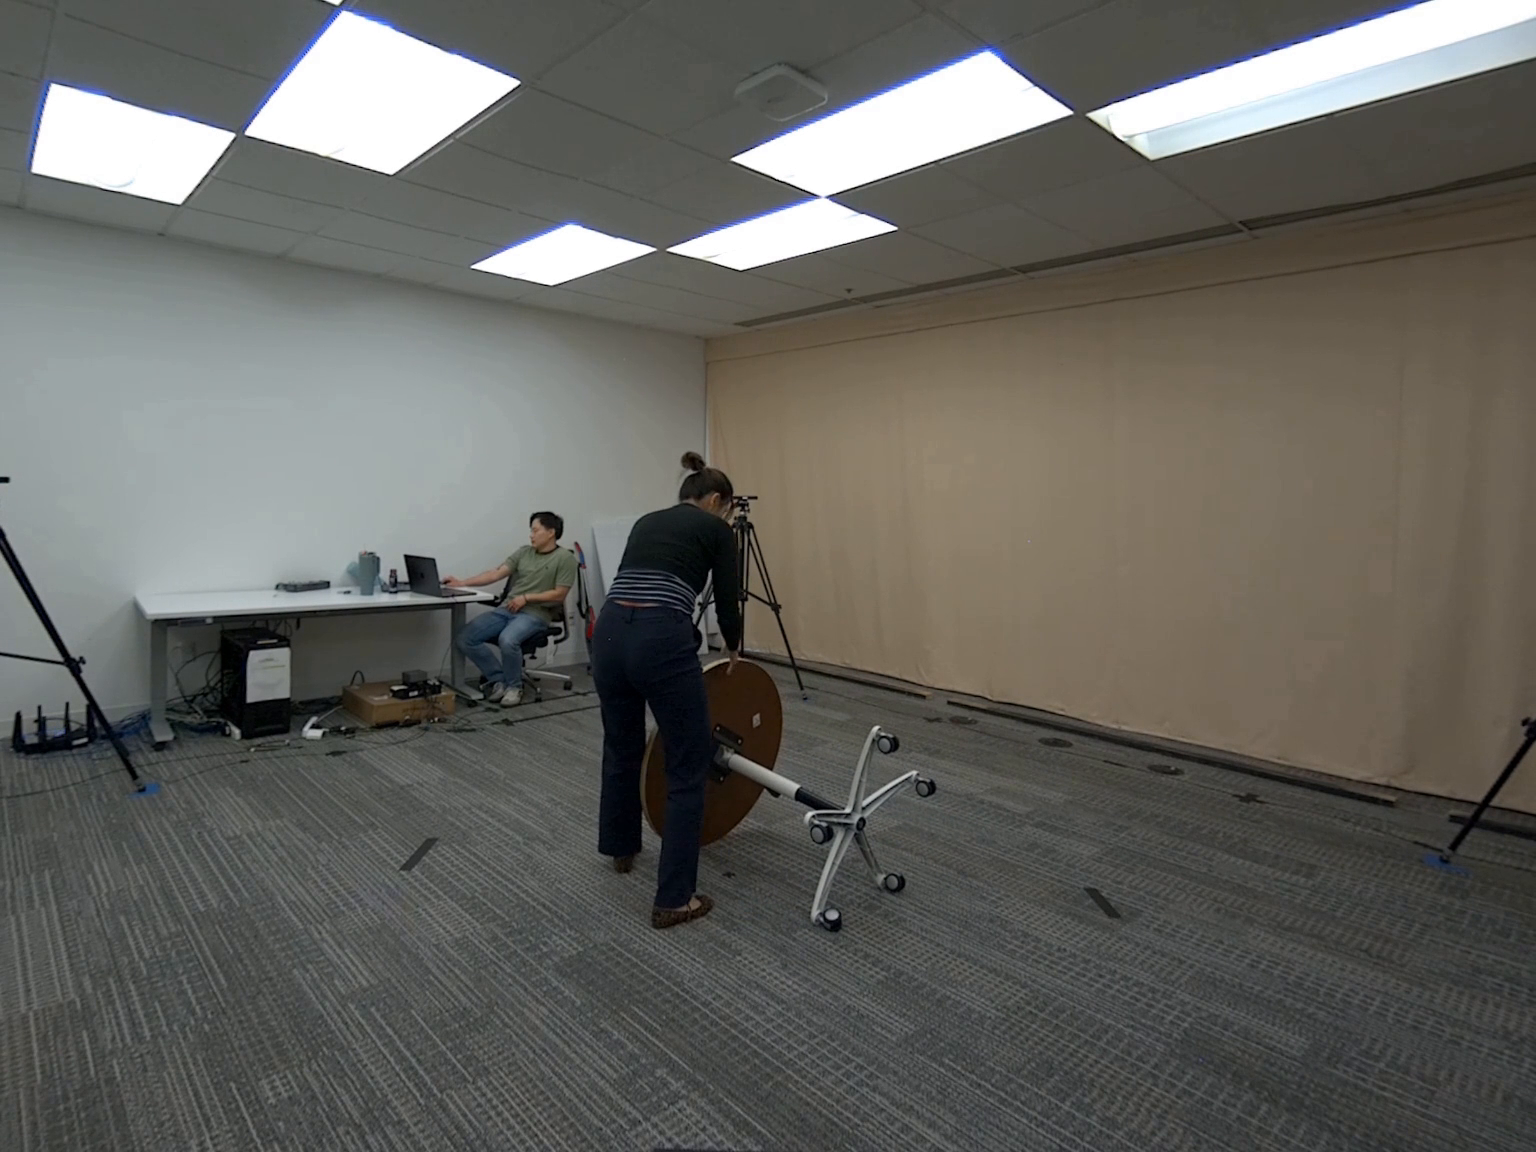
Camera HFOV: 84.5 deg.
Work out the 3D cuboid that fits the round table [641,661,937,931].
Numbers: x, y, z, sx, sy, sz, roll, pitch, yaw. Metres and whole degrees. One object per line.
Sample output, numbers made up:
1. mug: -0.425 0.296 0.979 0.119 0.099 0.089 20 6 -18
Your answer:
1. round table: 0.075 0.784 3.067 0.817 0.759 0.747 15 12 41
